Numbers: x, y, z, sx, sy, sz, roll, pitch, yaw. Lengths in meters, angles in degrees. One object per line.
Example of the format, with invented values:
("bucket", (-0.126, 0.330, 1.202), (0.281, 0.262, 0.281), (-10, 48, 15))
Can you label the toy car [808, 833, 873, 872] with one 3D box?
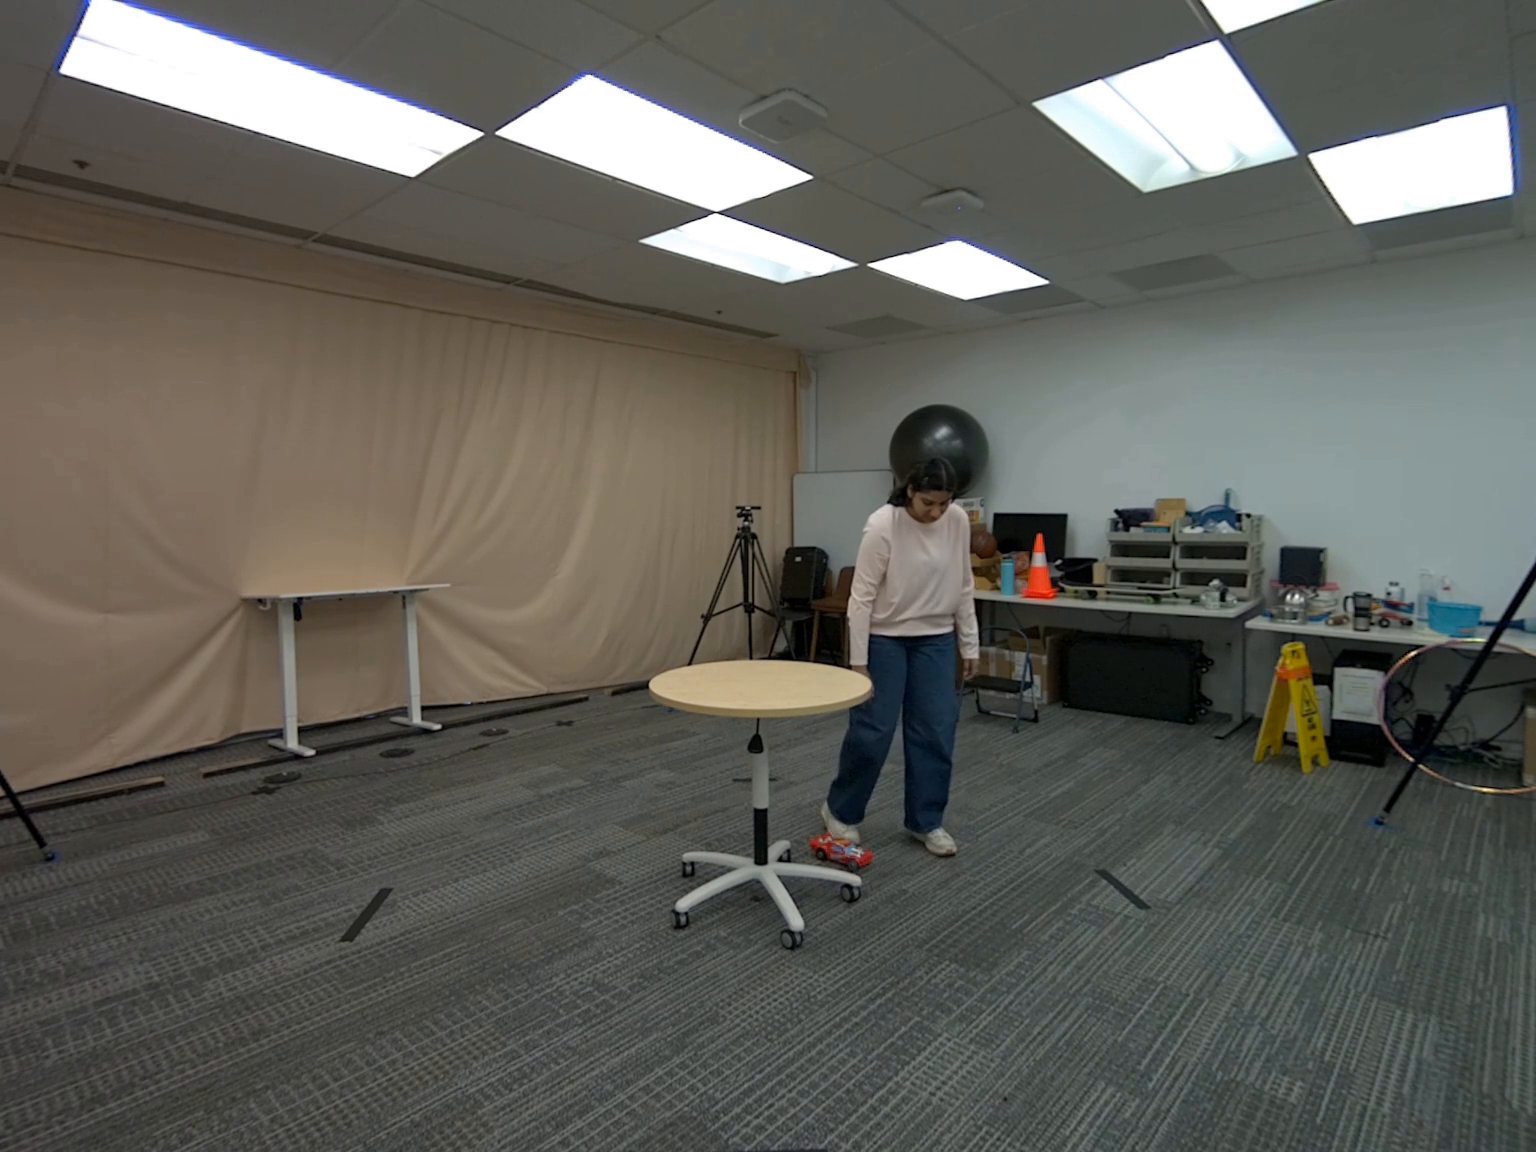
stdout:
("toy car", (0.283, 1.083, 3.313), (0.264, 0.083, 0.126), (17, 14, 39))
